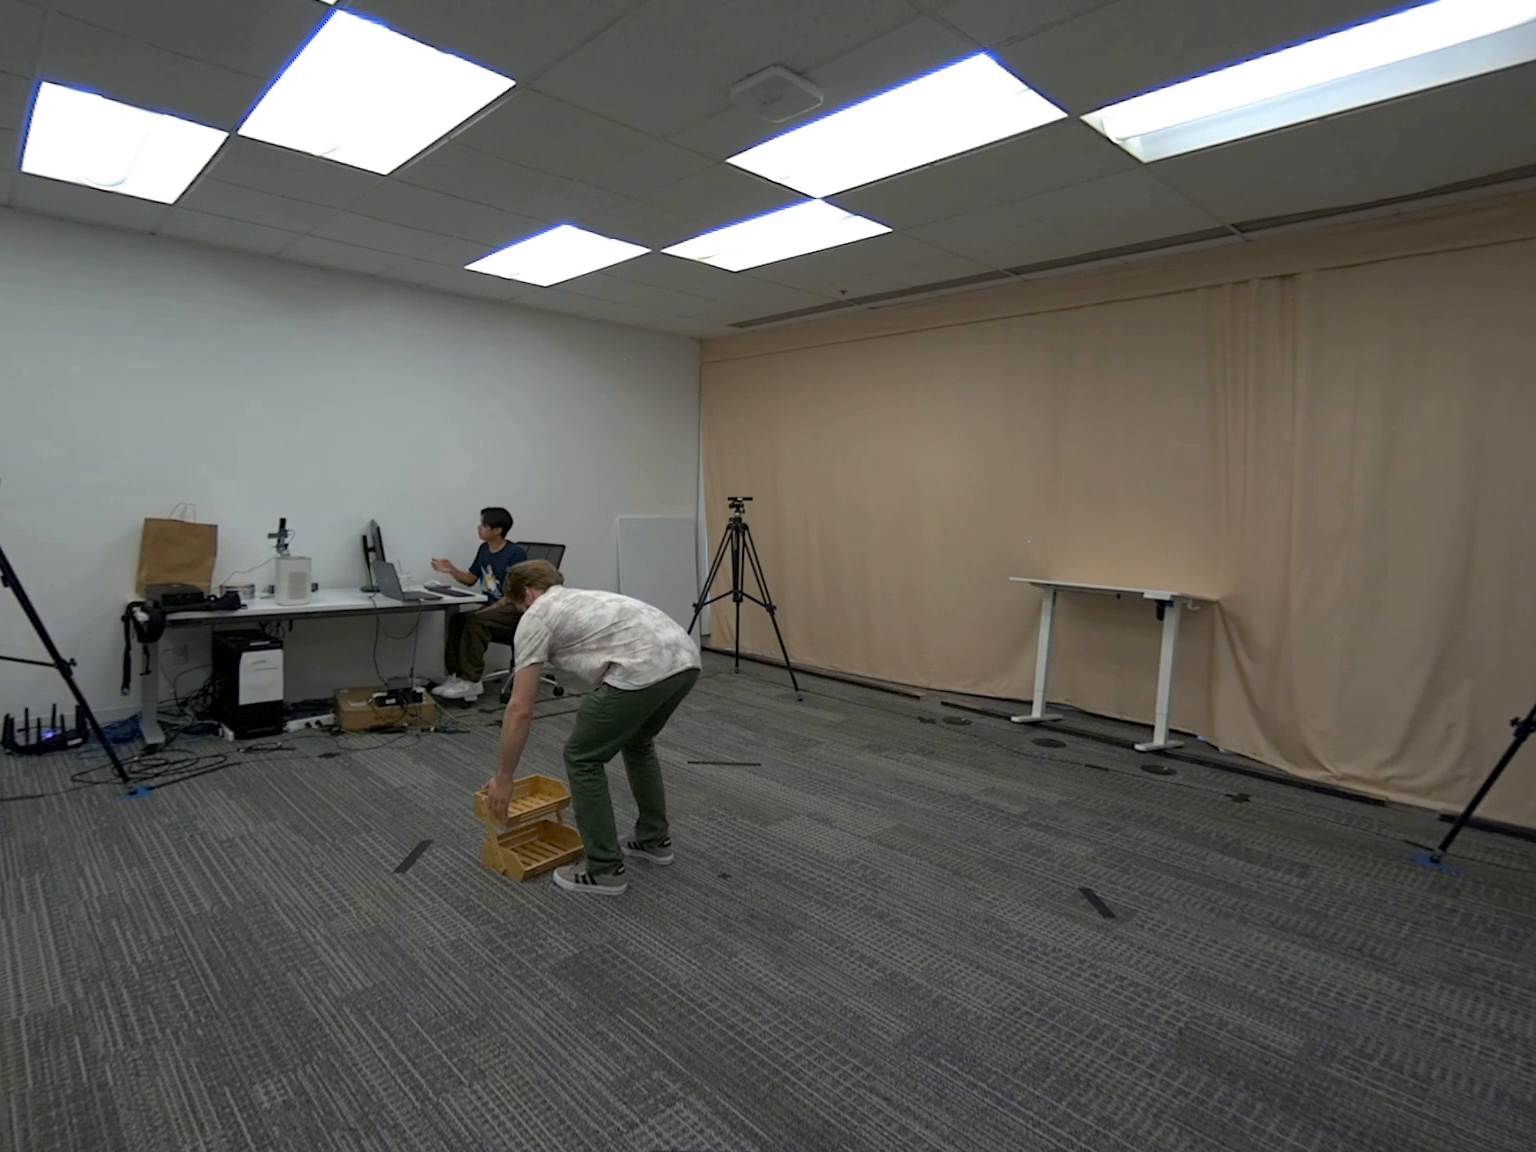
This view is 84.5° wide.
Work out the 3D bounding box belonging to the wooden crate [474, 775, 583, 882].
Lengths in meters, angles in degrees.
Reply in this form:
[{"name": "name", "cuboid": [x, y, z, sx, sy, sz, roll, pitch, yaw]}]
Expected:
[{"name": "wooden crate", "cuboid": [-0.907, 0.946, 3.204, 0.309, 0.272, 0.317, 4, 5, 38]}]
